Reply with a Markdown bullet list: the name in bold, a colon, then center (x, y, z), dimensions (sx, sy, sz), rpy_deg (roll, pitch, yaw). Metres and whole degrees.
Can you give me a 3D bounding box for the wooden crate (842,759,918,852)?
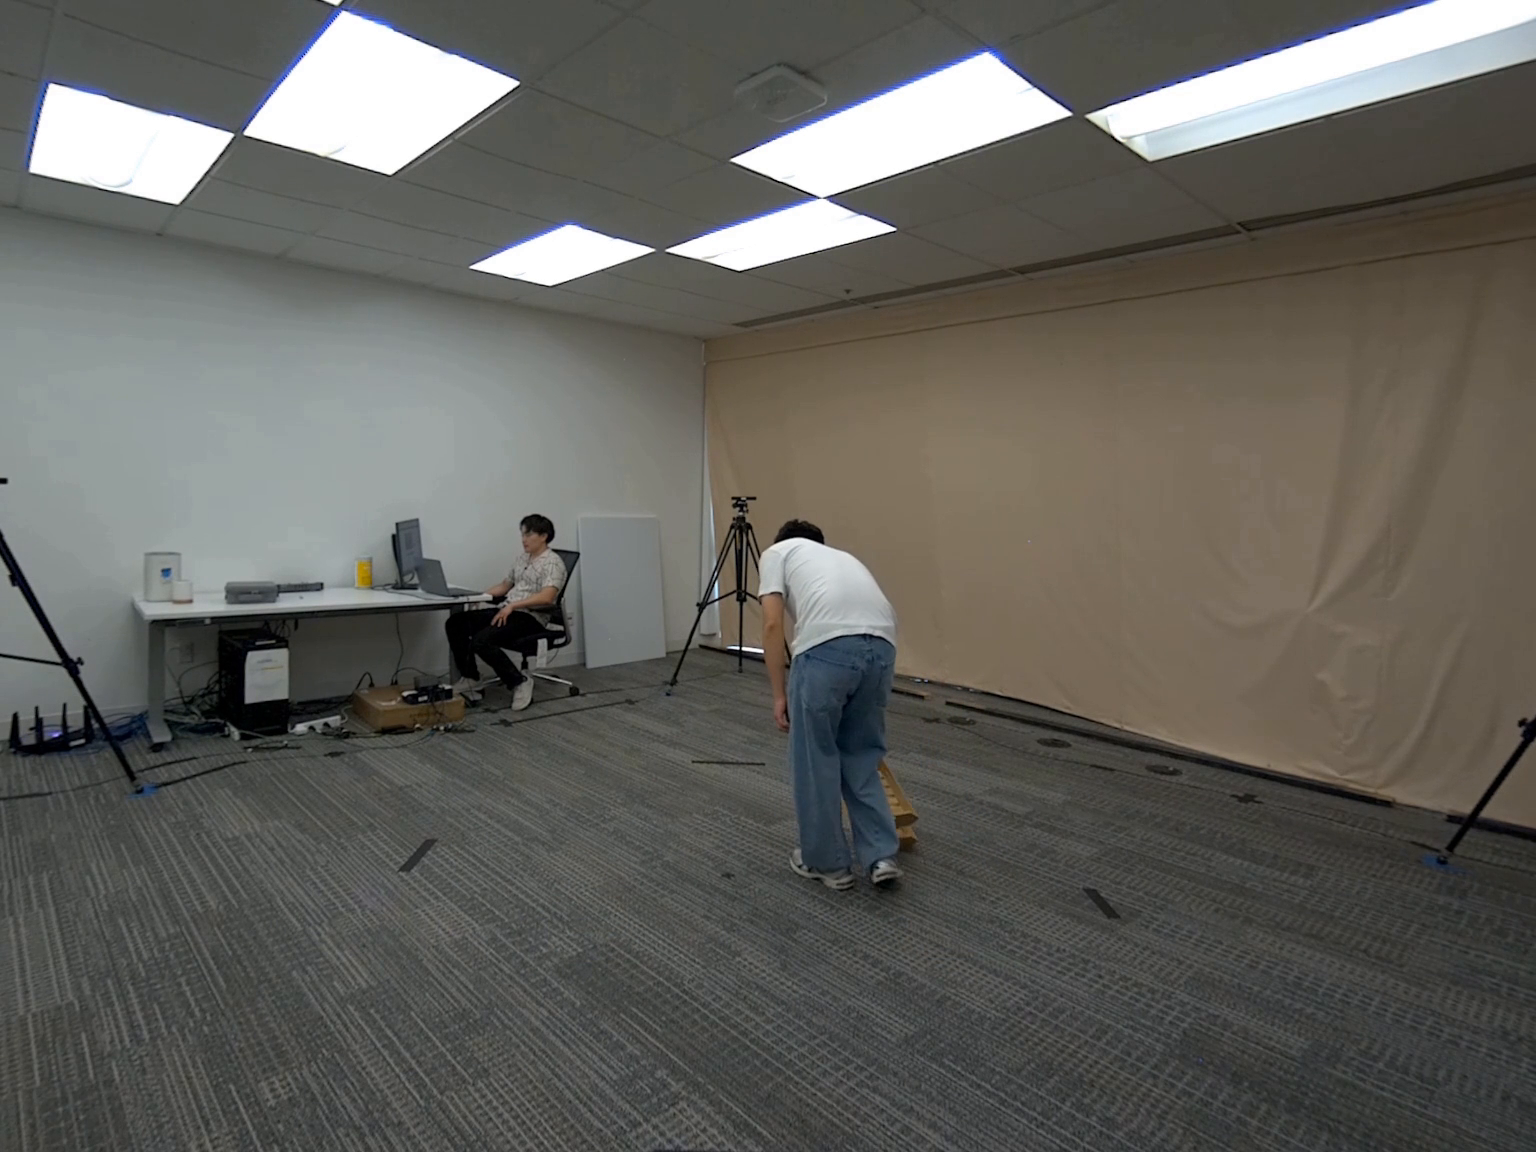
- **wooden crate**: center (0.449, 0.903, 3.373), dimensions (0.296, 0.270, 0.334), rpy_deg (1, 39, -29)
